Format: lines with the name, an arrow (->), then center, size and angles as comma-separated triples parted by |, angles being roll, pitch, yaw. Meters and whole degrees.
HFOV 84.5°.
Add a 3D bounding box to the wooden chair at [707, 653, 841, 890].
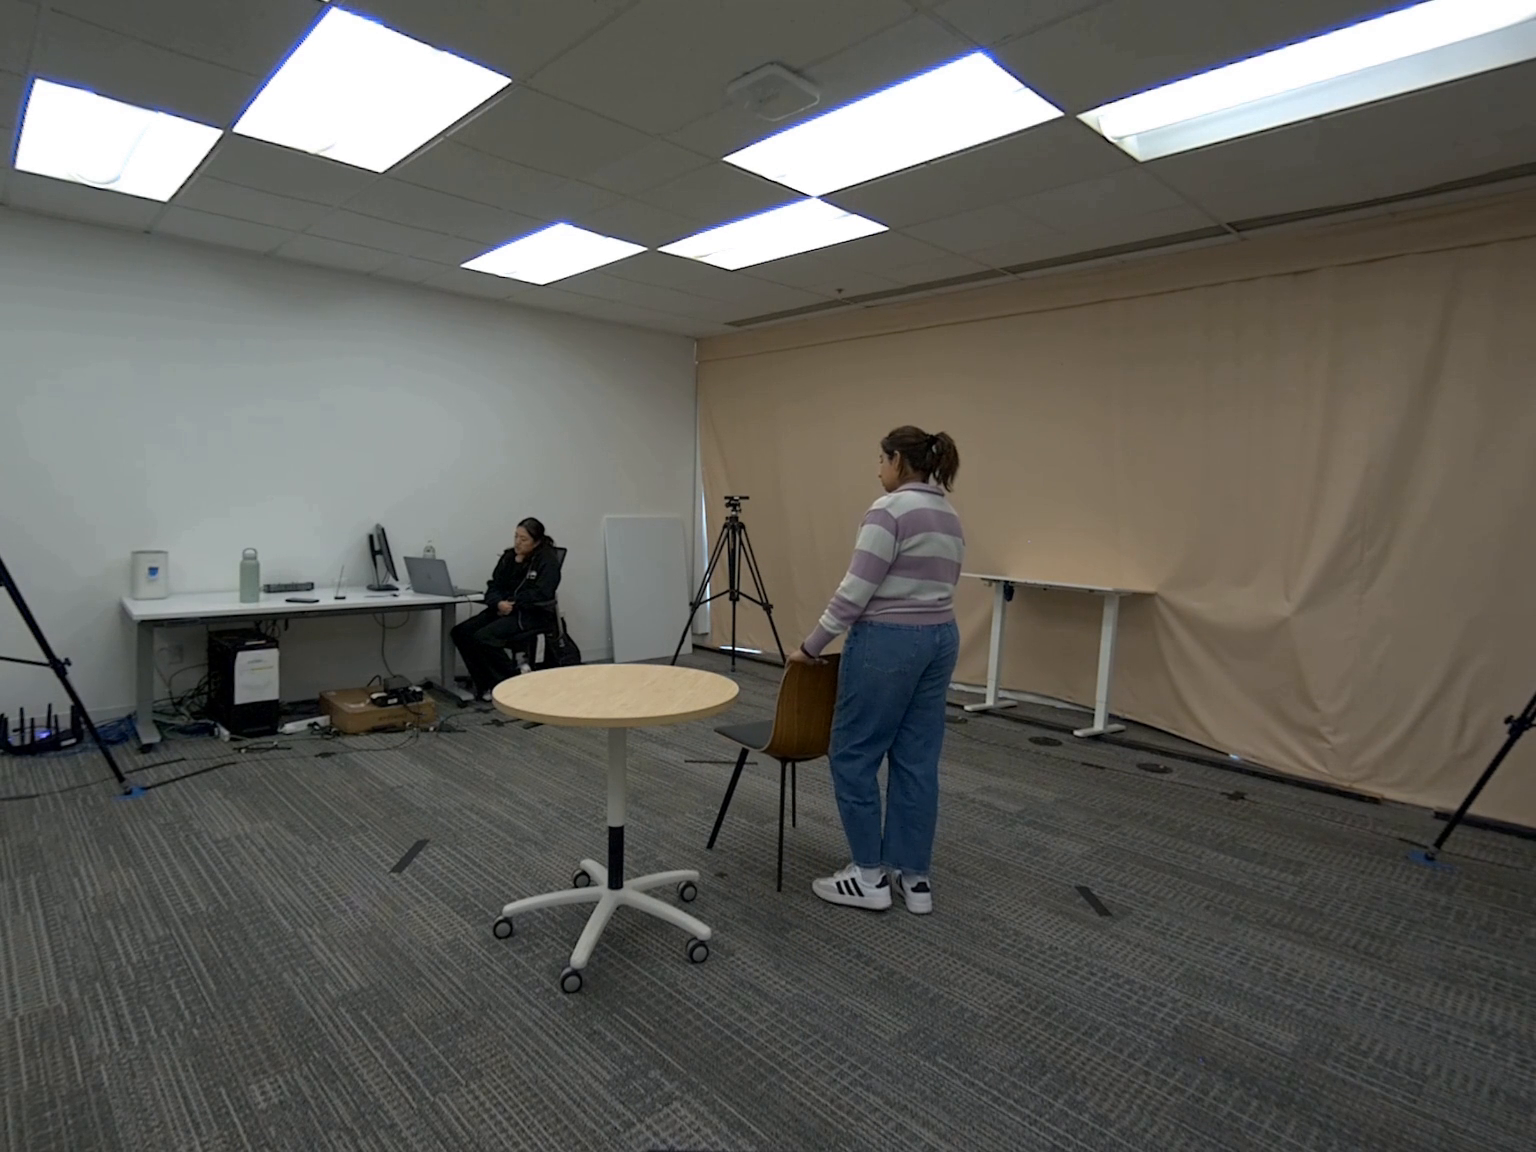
wooden chair -> 0.071, 0.668, 3.265 | 0.467, 0.873, 0.537 | -1, 9, -37
